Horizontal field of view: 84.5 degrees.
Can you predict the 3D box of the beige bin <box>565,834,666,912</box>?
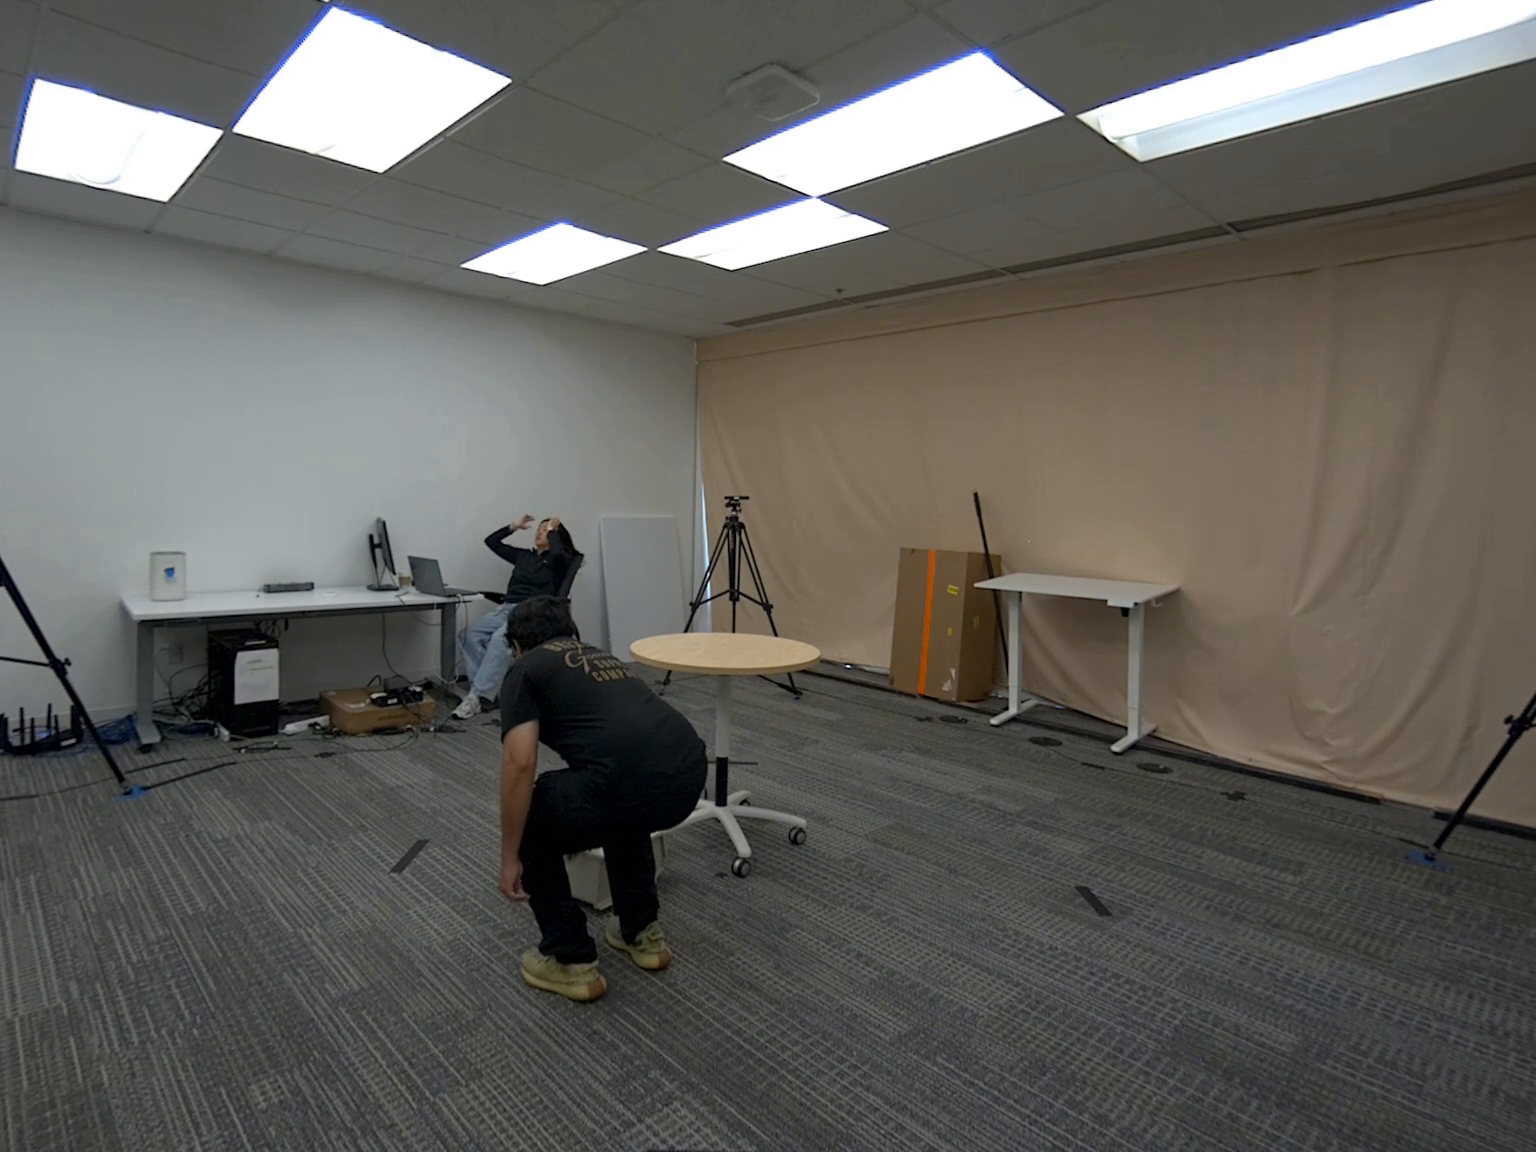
[{"bbox_3d":[-0.649,1.005,3.019,0.432,0.189,0.369,5,2,30],"label":"beige bin"}]
